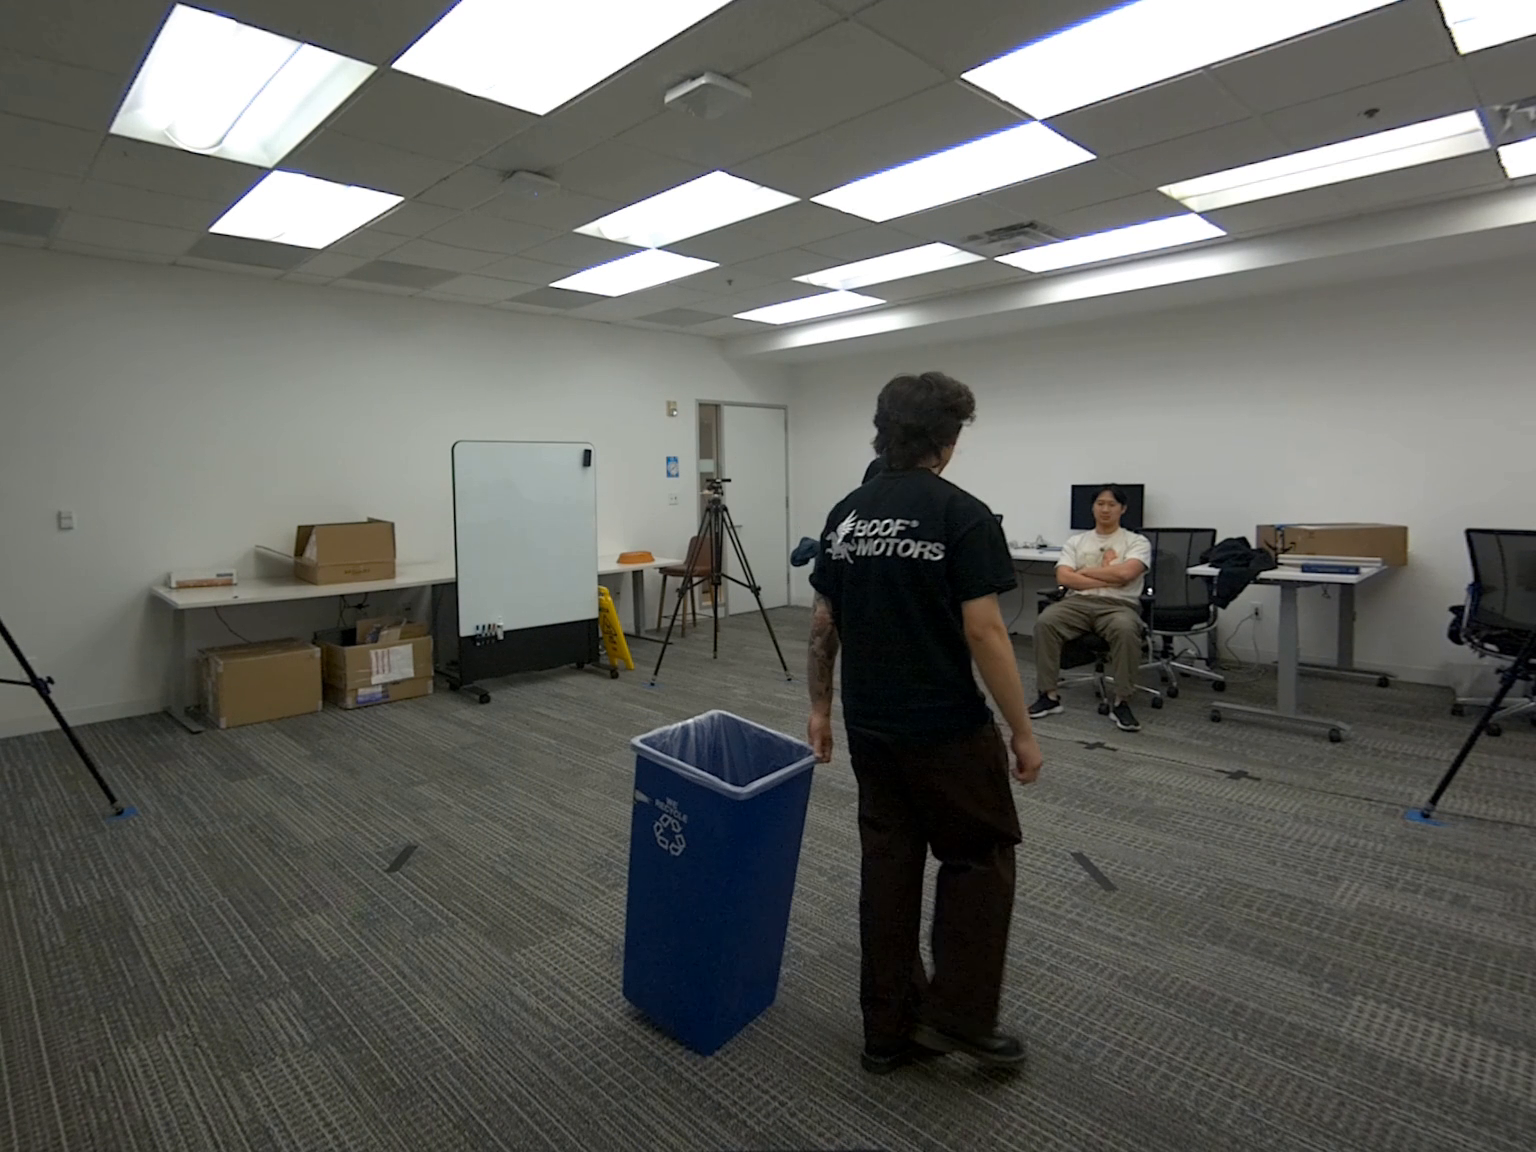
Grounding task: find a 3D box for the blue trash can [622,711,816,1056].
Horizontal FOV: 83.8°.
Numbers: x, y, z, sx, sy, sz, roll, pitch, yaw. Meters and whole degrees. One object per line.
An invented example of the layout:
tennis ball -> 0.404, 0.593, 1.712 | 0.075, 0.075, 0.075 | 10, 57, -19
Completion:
blue trash can -> -0.136, 0.777, 2.223 | 0.386, 0.708, 0.369 | 12, 11, 34
